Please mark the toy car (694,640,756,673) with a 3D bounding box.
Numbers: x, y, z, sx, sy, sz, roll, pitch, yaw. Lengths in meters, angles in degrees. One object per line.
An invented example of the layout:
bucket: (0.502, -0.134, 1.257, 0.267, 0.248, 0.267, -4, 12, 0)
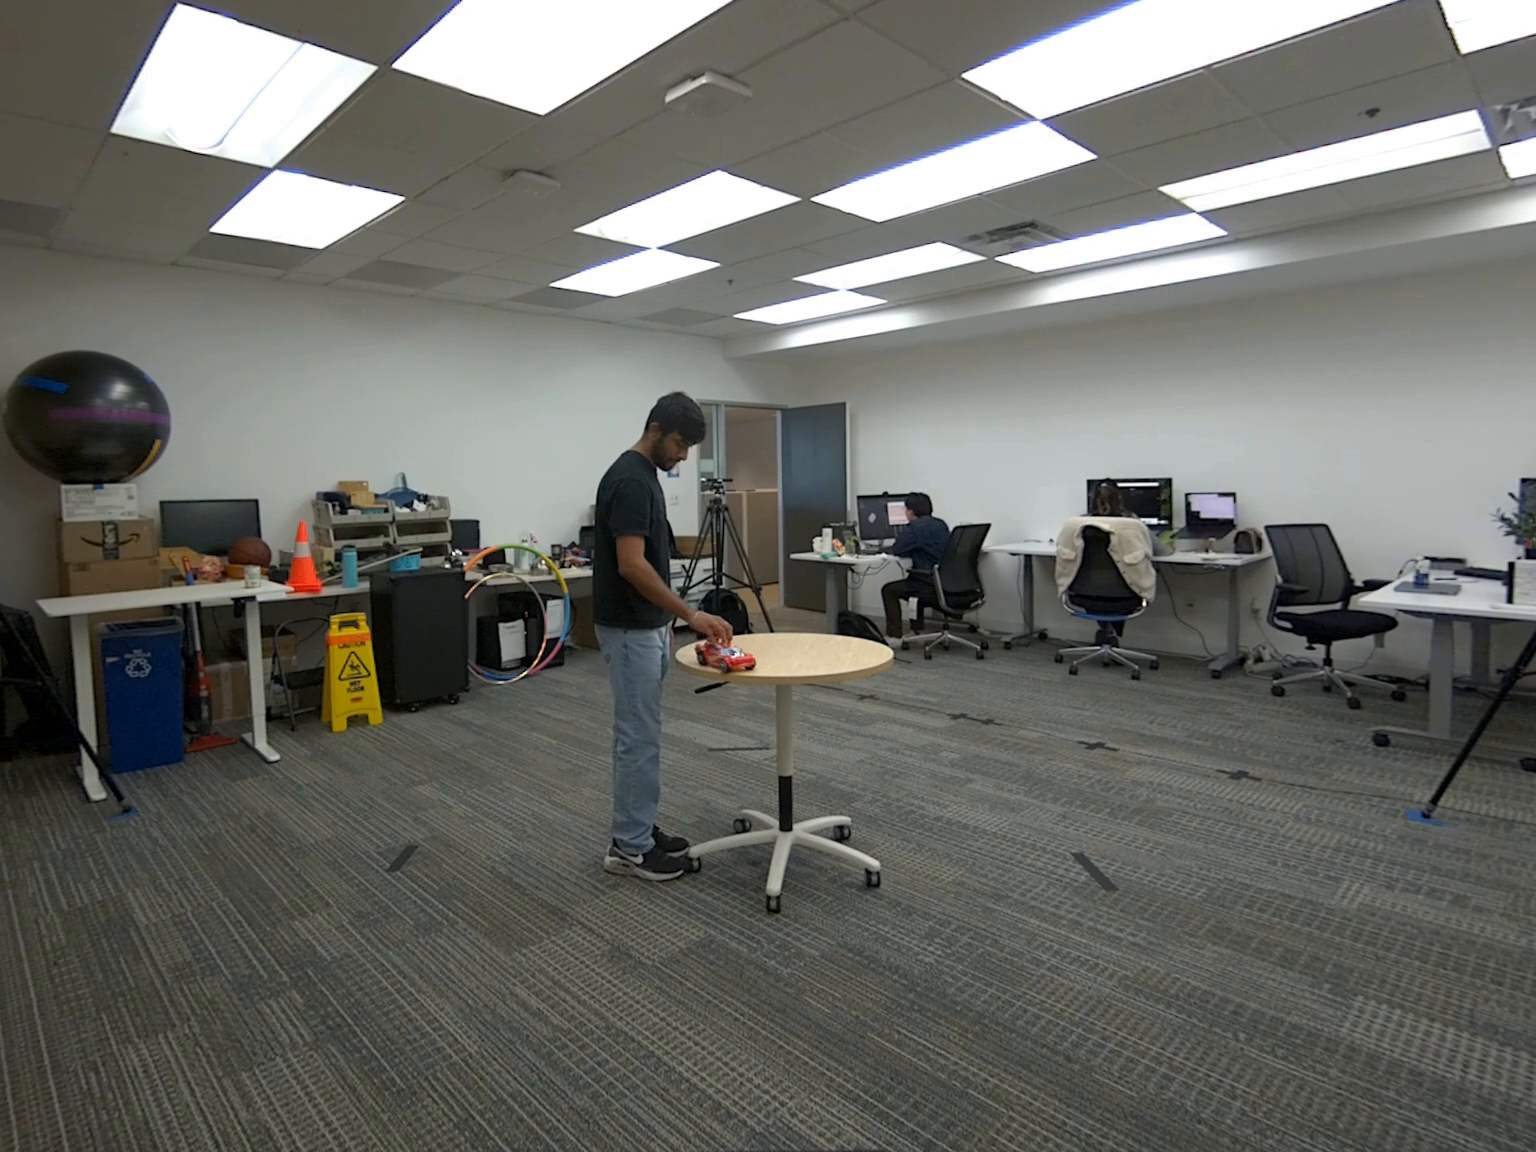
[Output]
toy car: (-0.143, 0.267, 2.810, 0.127, 0.082, 0.263, -3, 16, -31)
